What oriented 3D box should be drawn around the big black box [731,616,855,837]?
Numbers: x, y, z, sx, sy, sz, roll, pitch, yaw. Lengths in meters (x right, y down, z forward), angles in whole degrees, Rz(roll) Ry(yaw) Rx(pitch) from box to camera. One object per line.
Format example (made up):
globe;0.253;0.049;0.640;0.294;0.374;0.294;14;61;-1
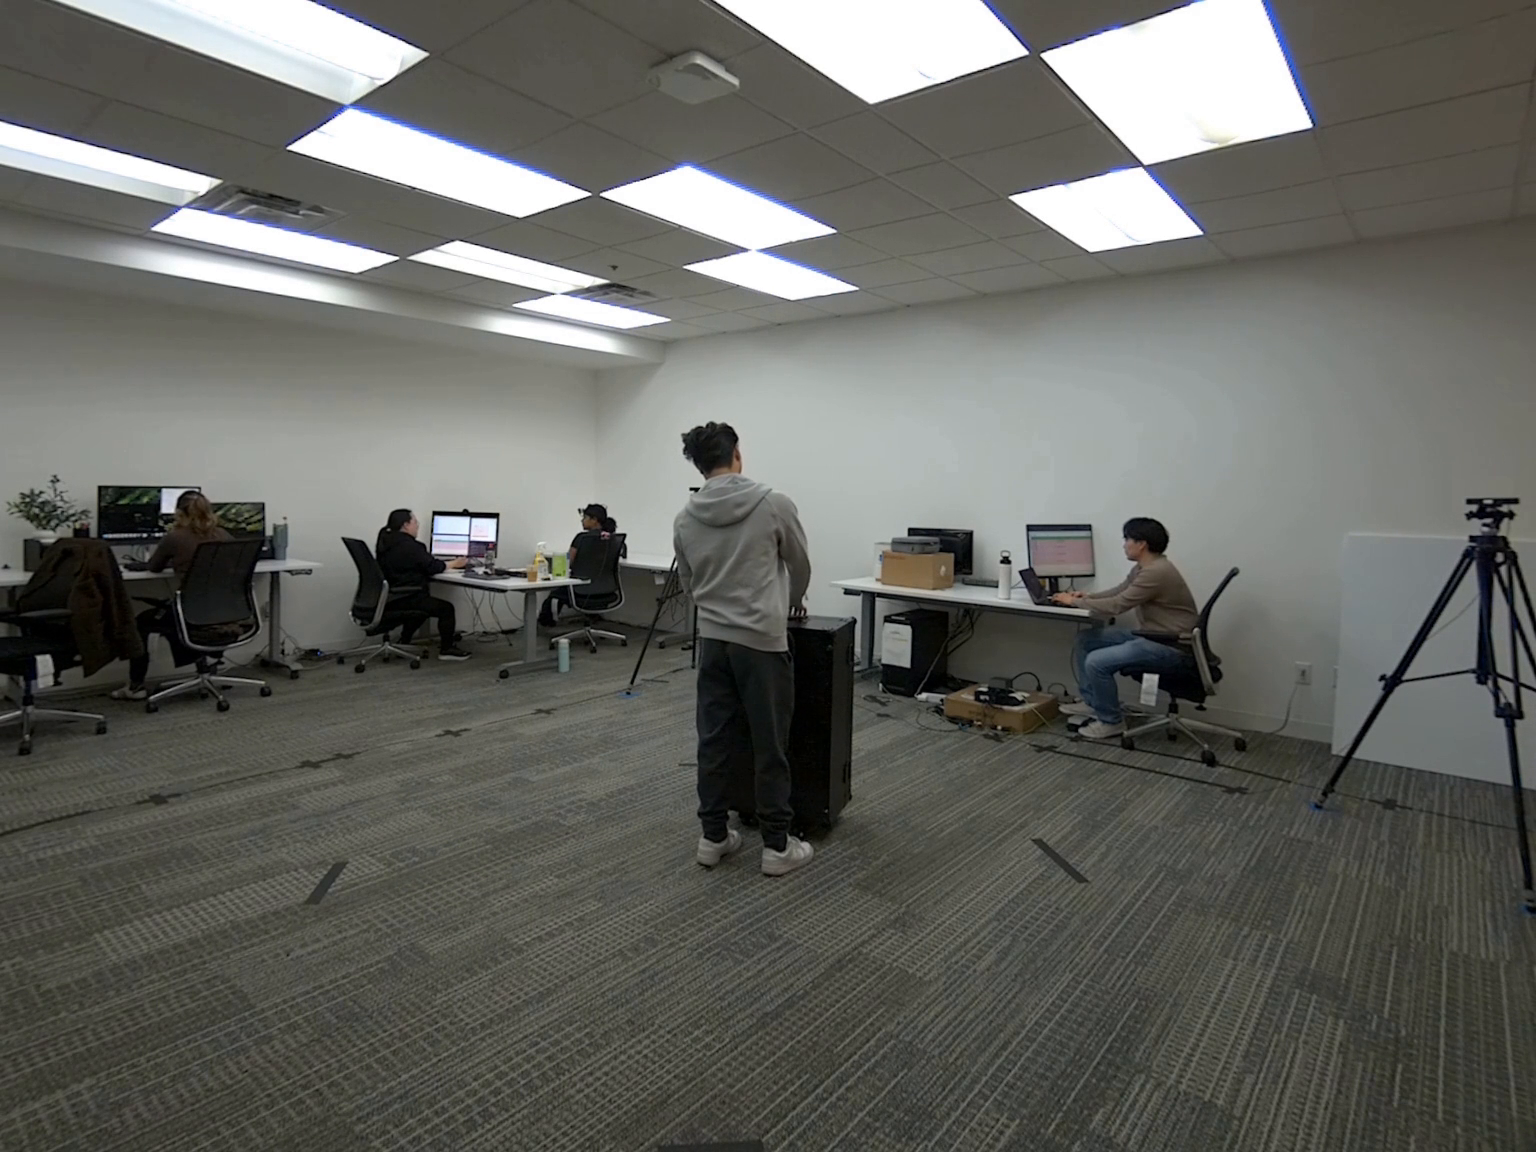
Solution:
big black box;0.080;0.605;3.559;0.533;0.858;0.389;2;5;21
